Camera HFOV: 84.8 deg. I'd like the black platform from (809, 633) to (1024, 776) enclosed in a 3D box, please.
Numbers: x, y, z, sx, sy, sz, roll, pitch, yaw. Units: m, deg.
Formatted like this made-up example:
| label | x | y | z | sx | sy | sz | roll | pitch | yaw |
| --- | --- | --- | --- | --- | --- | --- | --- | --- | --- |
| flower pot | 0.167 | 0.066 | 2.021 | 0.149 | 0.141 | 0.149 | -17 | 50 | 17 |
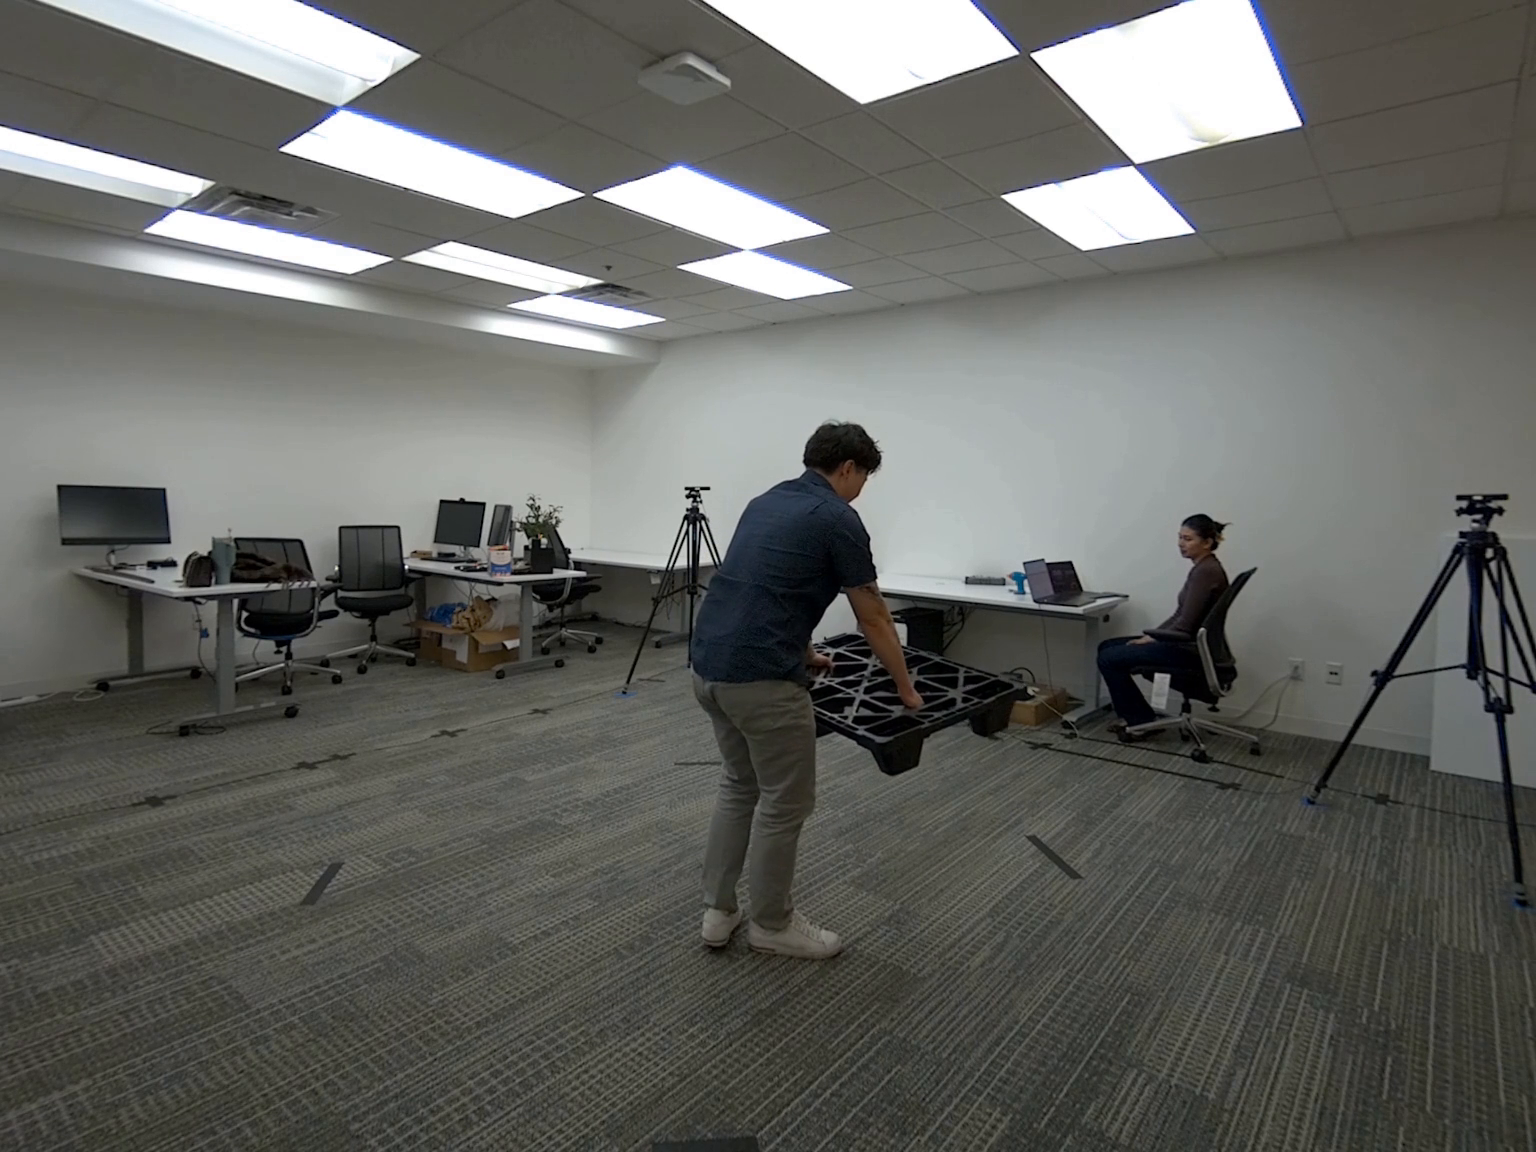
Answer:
| label | x | y | z | sx | sy | sz | roll | pitch | yaw |
| --- | --- | --- | --- | --- | --- | --- | --- | --- | --- |
| black platform | 0.316 | 0.390 | 2.747 | 0.592 | 0.141 | 0.833 | -14 | 16 | -30 |
